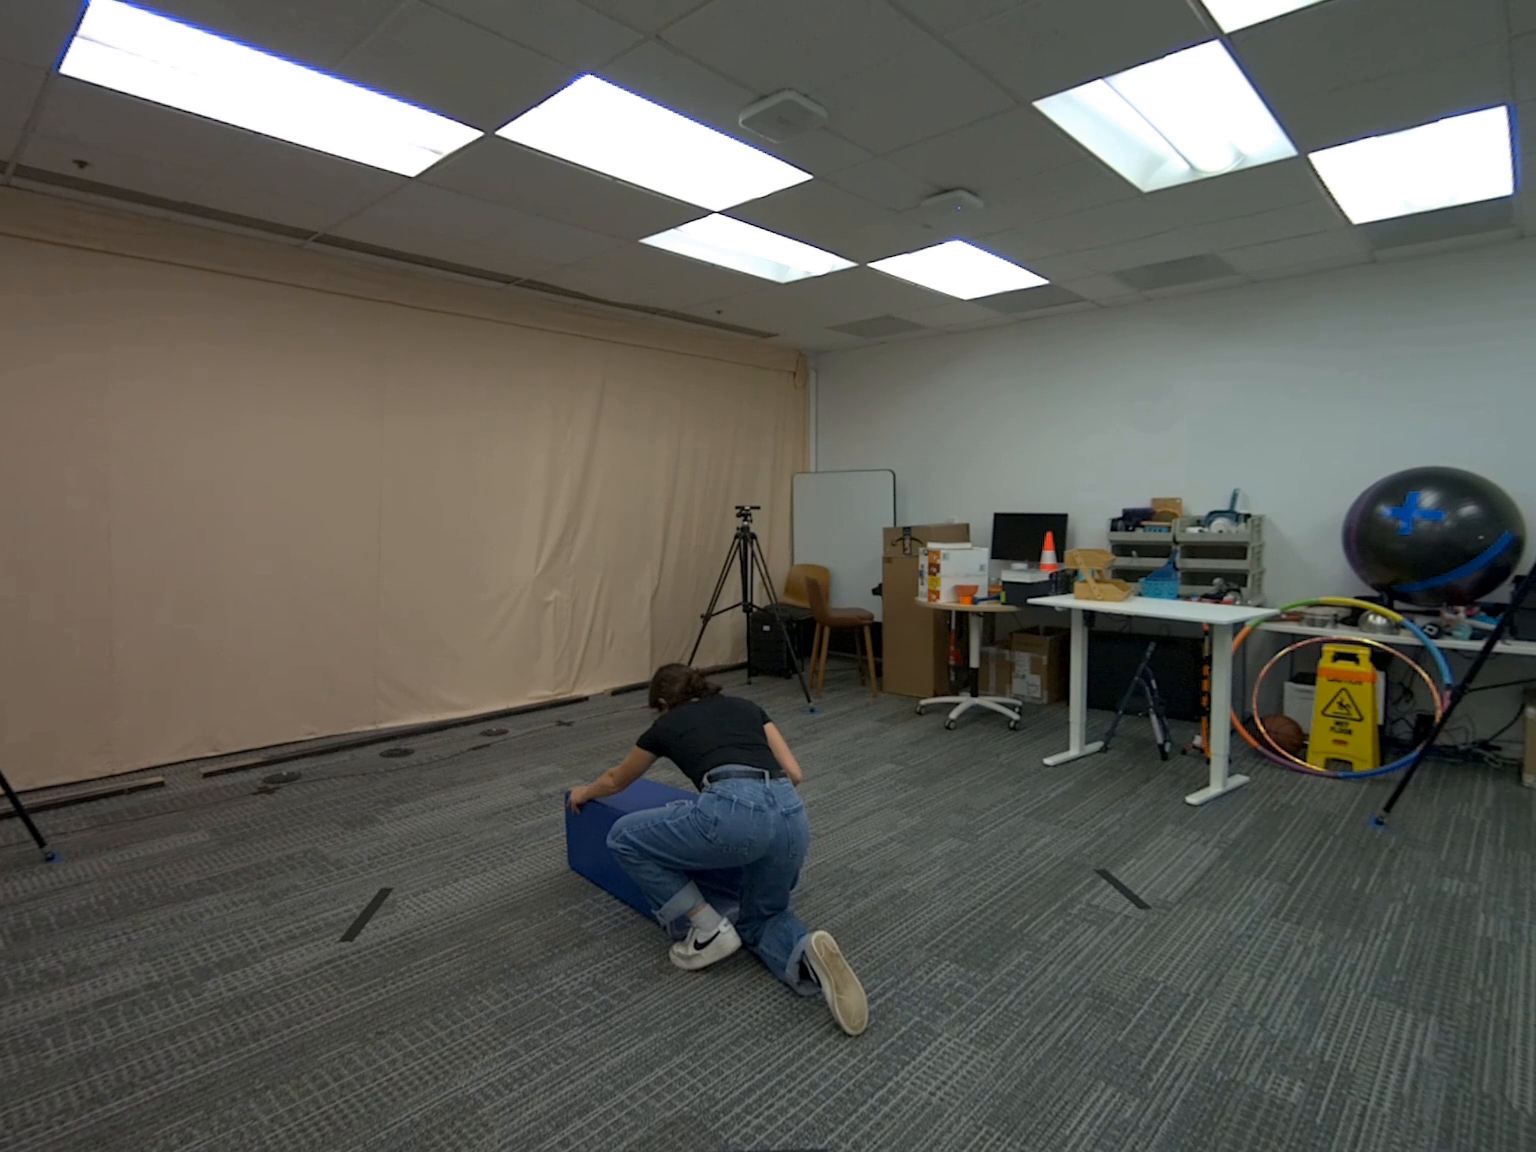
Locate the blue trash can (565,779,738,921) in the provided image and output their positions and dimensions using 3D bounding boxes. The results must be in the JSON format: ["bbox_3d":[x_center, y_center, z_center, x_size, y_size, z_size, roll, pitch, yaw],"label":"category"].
[{"bbox_3d":[-0.431,0.978,3.069,0.363,0.377,0.736,-5,3,-42],"label":"blue trash can"}]
